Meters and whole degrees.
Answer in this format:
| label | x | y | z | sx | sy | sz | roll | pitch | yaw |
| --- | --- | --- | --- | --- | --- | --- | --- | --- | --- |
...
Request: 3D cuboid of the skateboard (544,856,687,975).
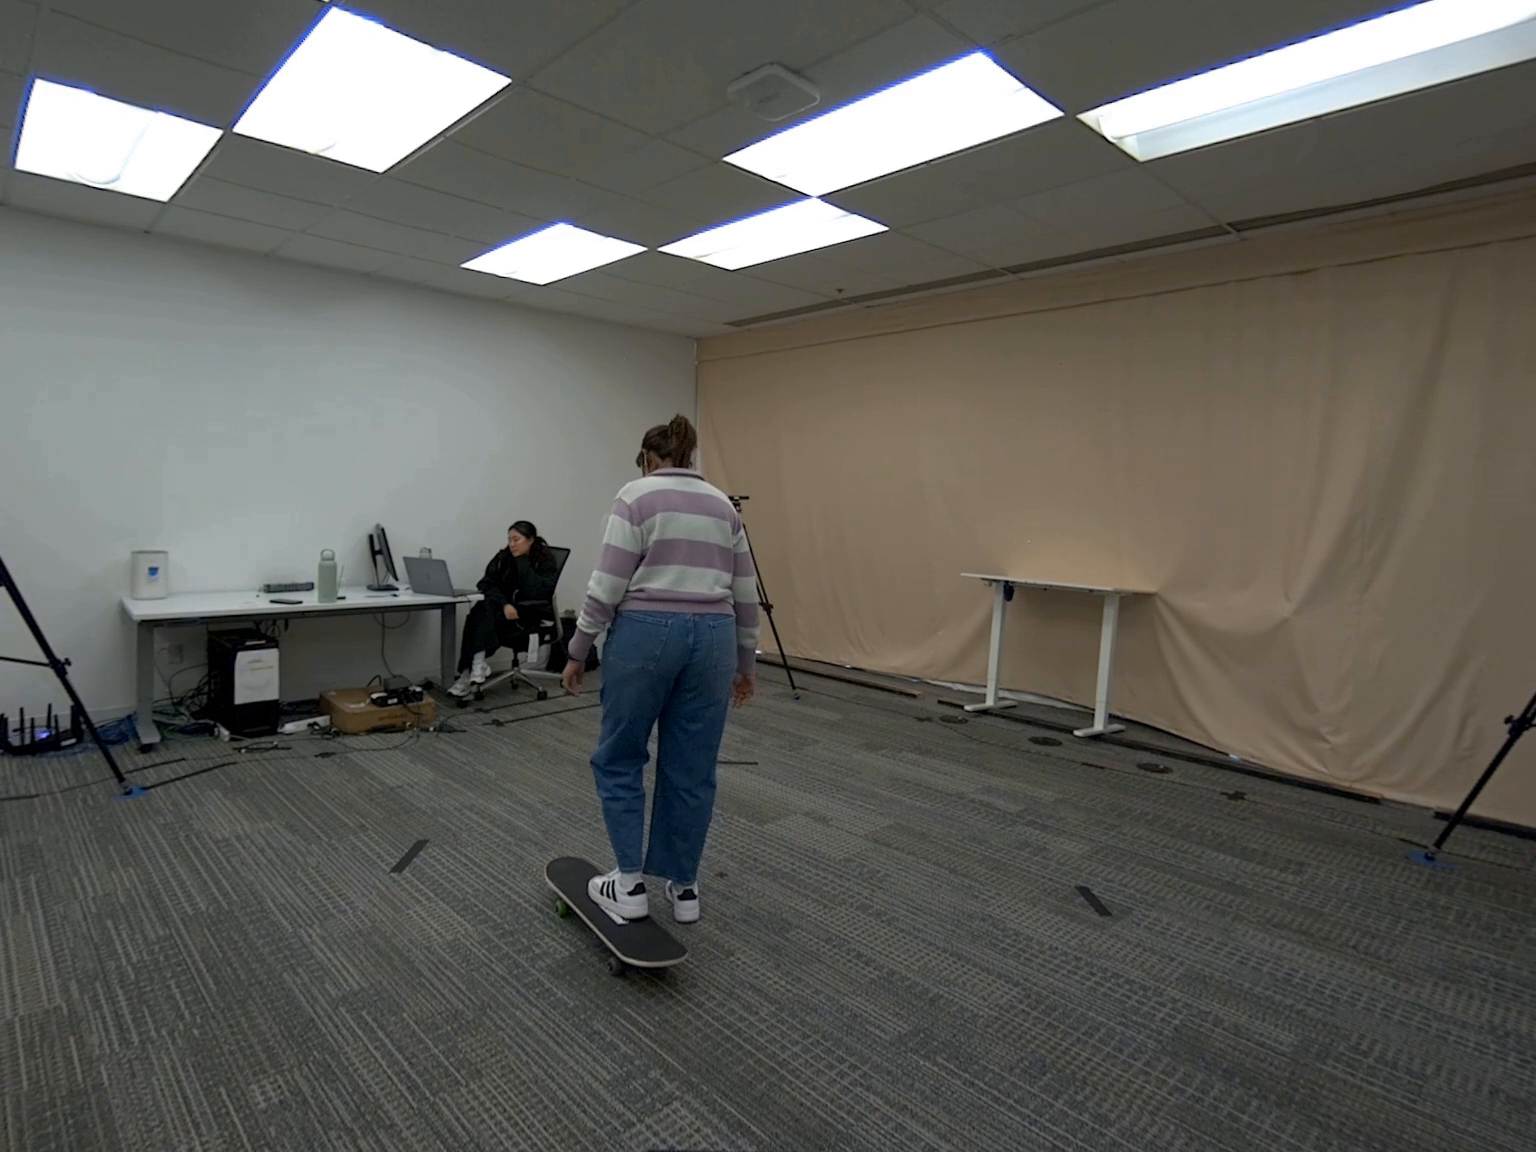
| label | x | y | z | sx | sy | sz | roll | pitch | yaw |
| --- | --- | --- | --- | --- | --- | --- | --- | --- | --- |
| skateboard | -0.525 | 1.083 | 2.666 | 0.189 | 0.110 | 0.804 | 3 | 3 | -34 |
